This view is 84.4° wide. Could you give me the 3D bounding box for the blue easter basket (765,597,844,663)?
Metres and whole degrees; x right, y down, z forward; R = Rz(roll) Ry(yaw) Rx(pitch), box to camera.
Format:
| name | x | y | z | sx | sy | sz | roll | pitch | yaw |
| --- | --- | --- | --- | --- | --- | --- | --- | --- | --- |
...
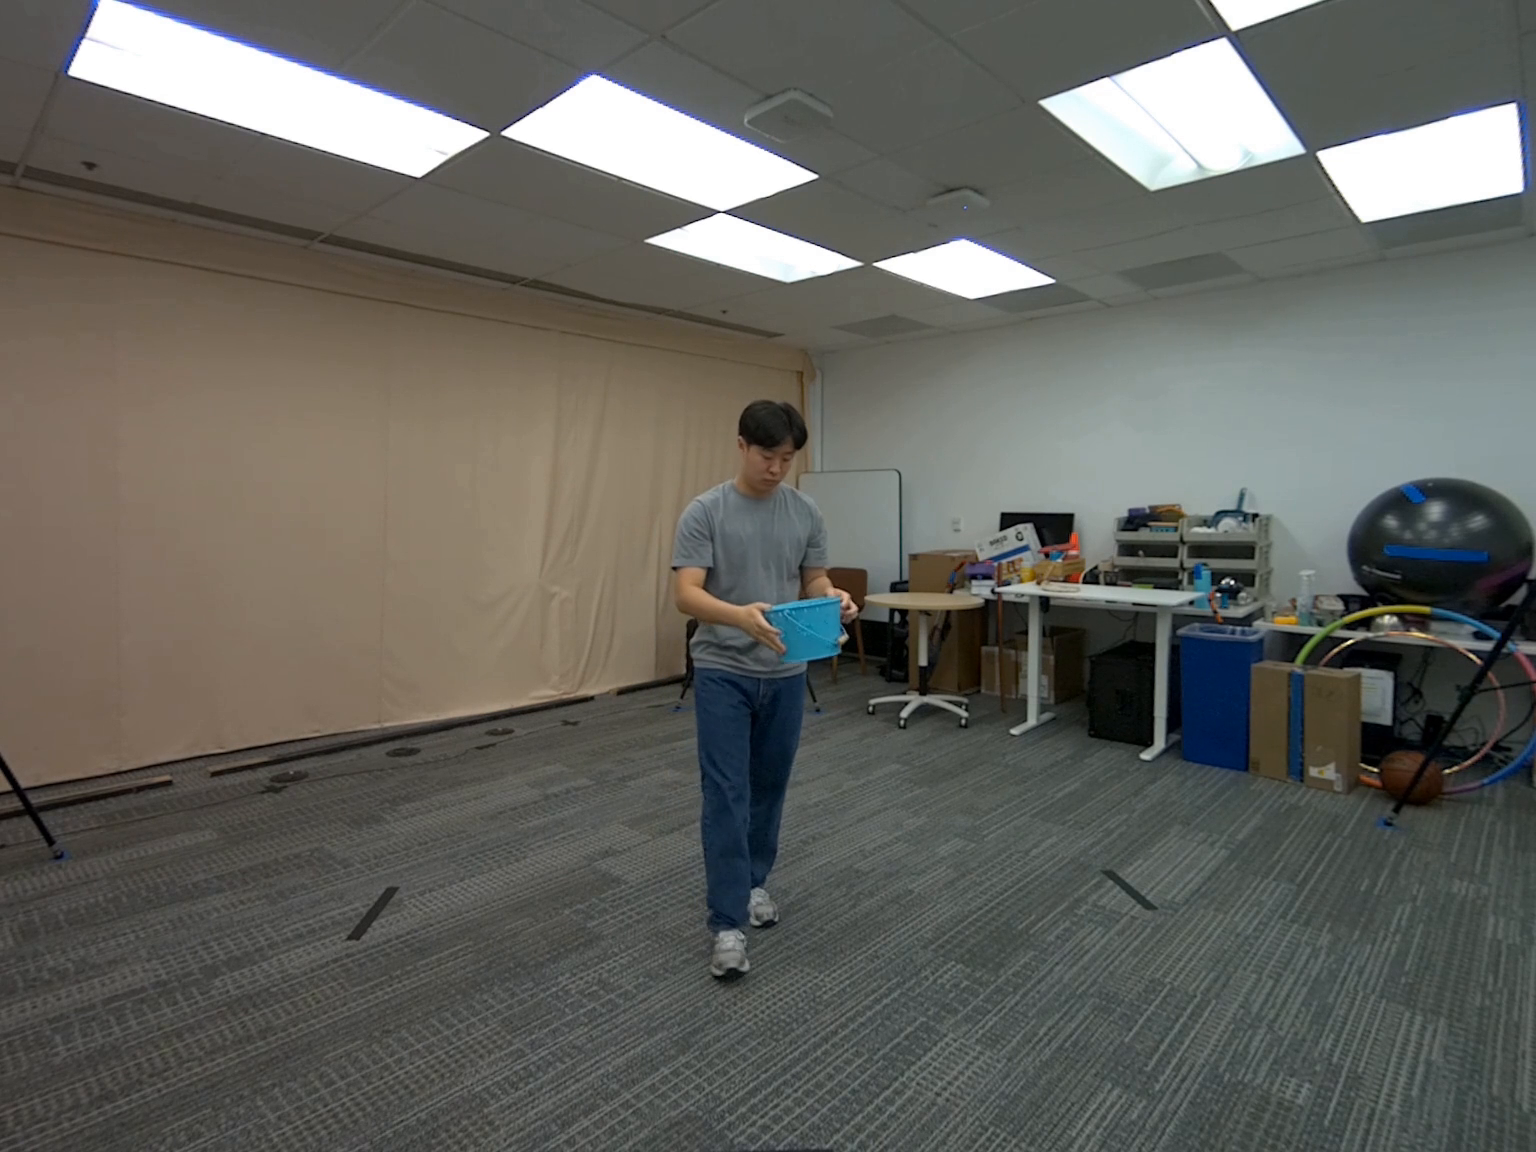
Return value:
| name | x | y | z | sx | sy | sz | roll | pitch | yaw |
| --- | --- | --- | --- | --- | --- | --- | --- | --- | --- |
| blue easter basket | 0.113 | 0.159 | 2.398 | 0.243 | 0.156 | 0.243 | -10 | -1 | -2 |
